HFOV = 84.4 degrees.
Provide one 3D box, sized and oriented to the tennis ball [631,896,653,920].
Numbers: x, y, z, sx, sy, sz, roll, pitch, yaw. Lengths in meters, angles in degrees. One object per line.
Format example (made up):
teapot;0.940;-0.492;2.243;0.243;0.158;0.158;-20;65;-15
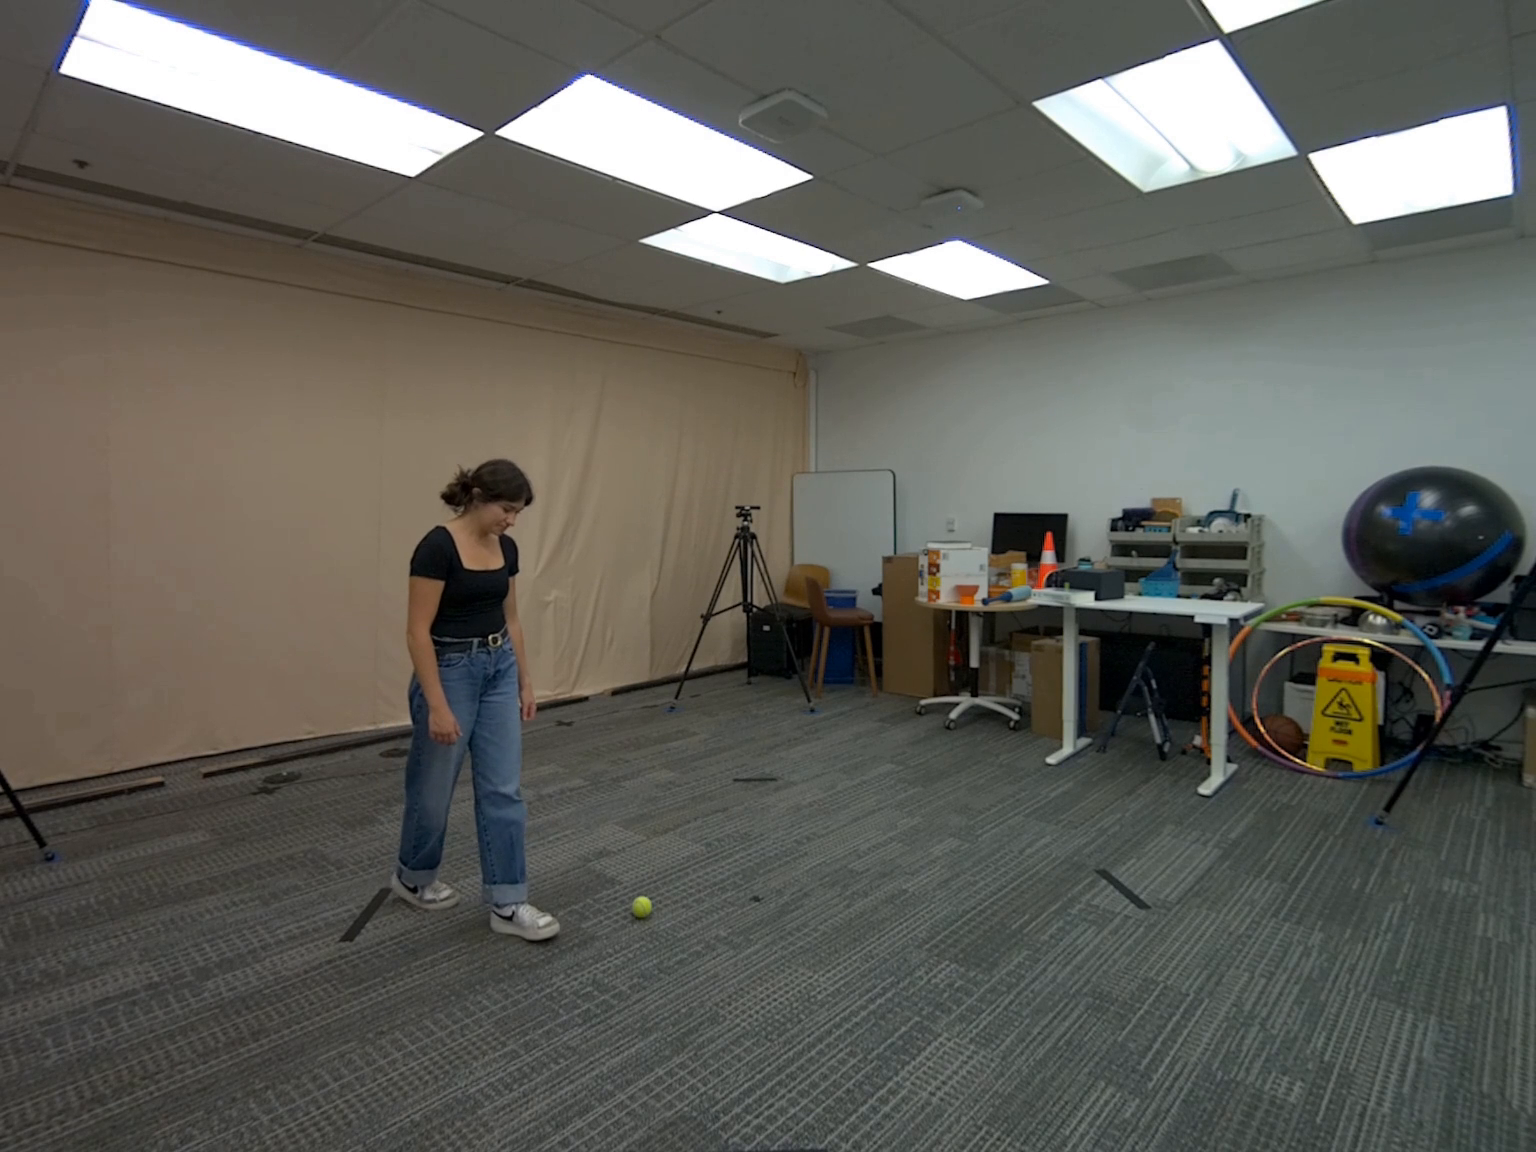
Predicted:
tennis ball;-0.433;1.114;2.843;0.066;0.066;0.067;0;4;-2
